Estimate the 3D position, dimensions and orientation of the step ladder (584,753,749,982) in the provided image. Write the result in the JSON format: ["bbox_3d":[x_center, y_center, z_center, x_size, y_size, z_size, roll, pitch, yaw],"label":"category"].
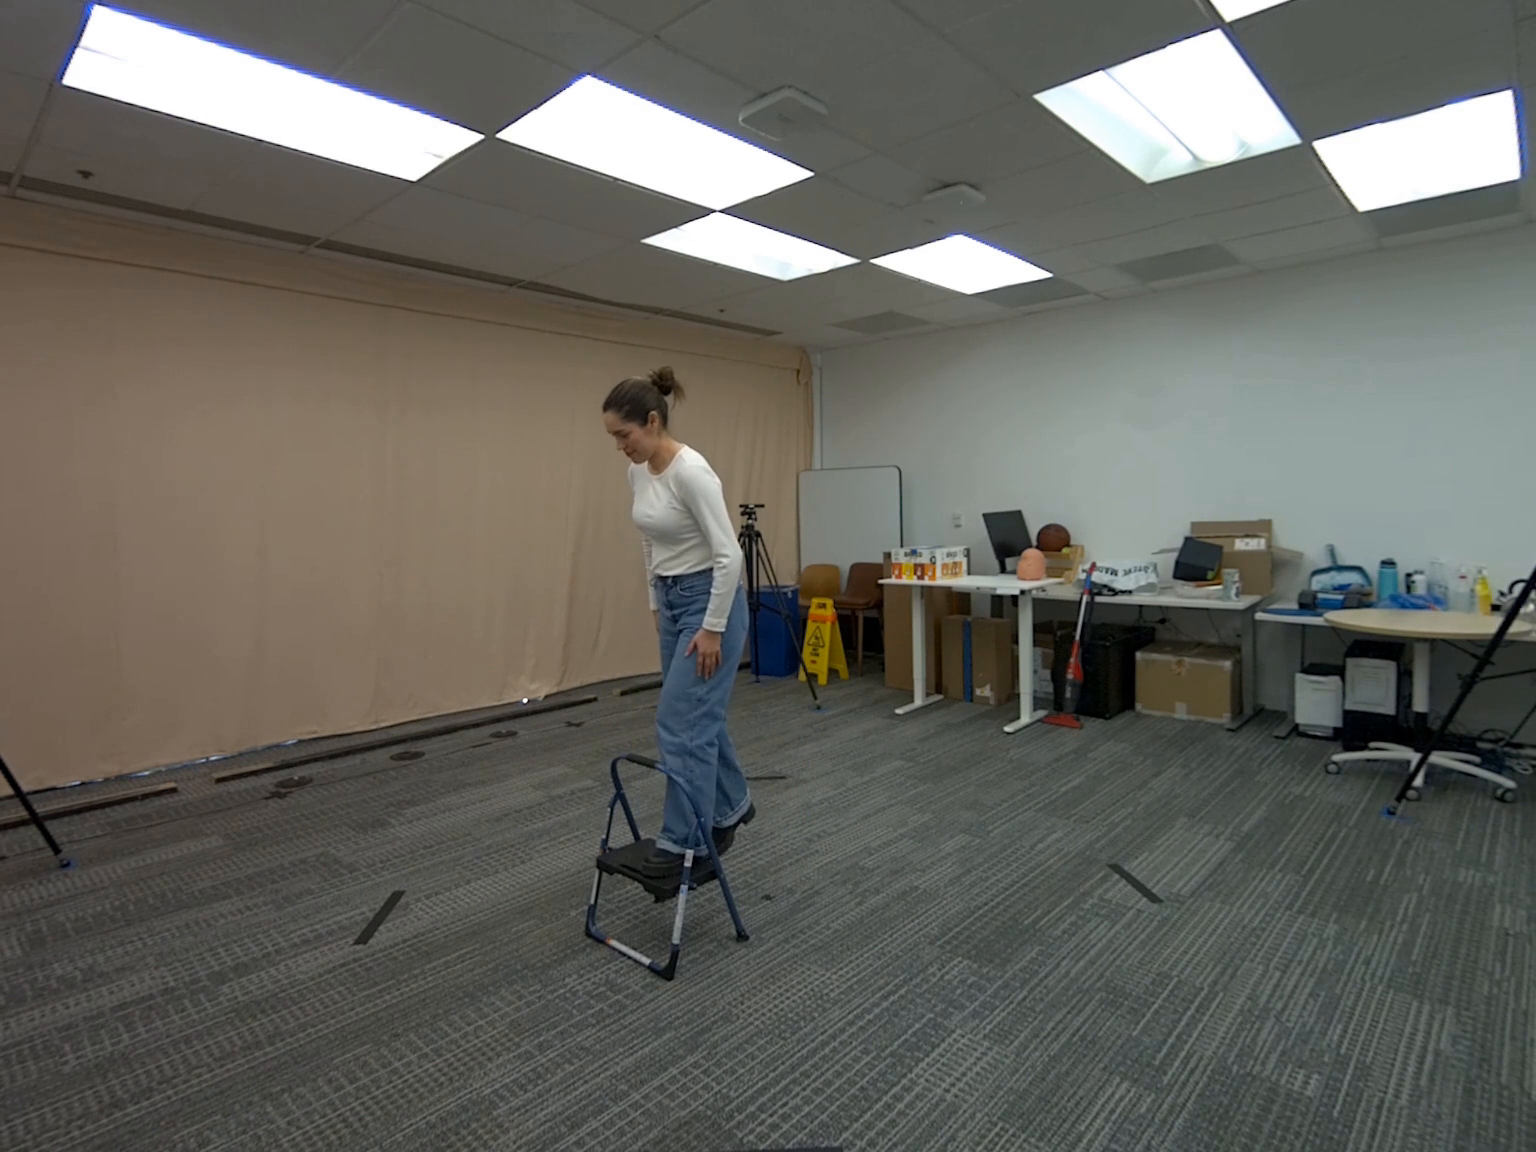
[{"bbox_3d":[-0.338,0.867,2.718,0.445,0.605,0.338,1,4,42],"label":"step ladder"}]
